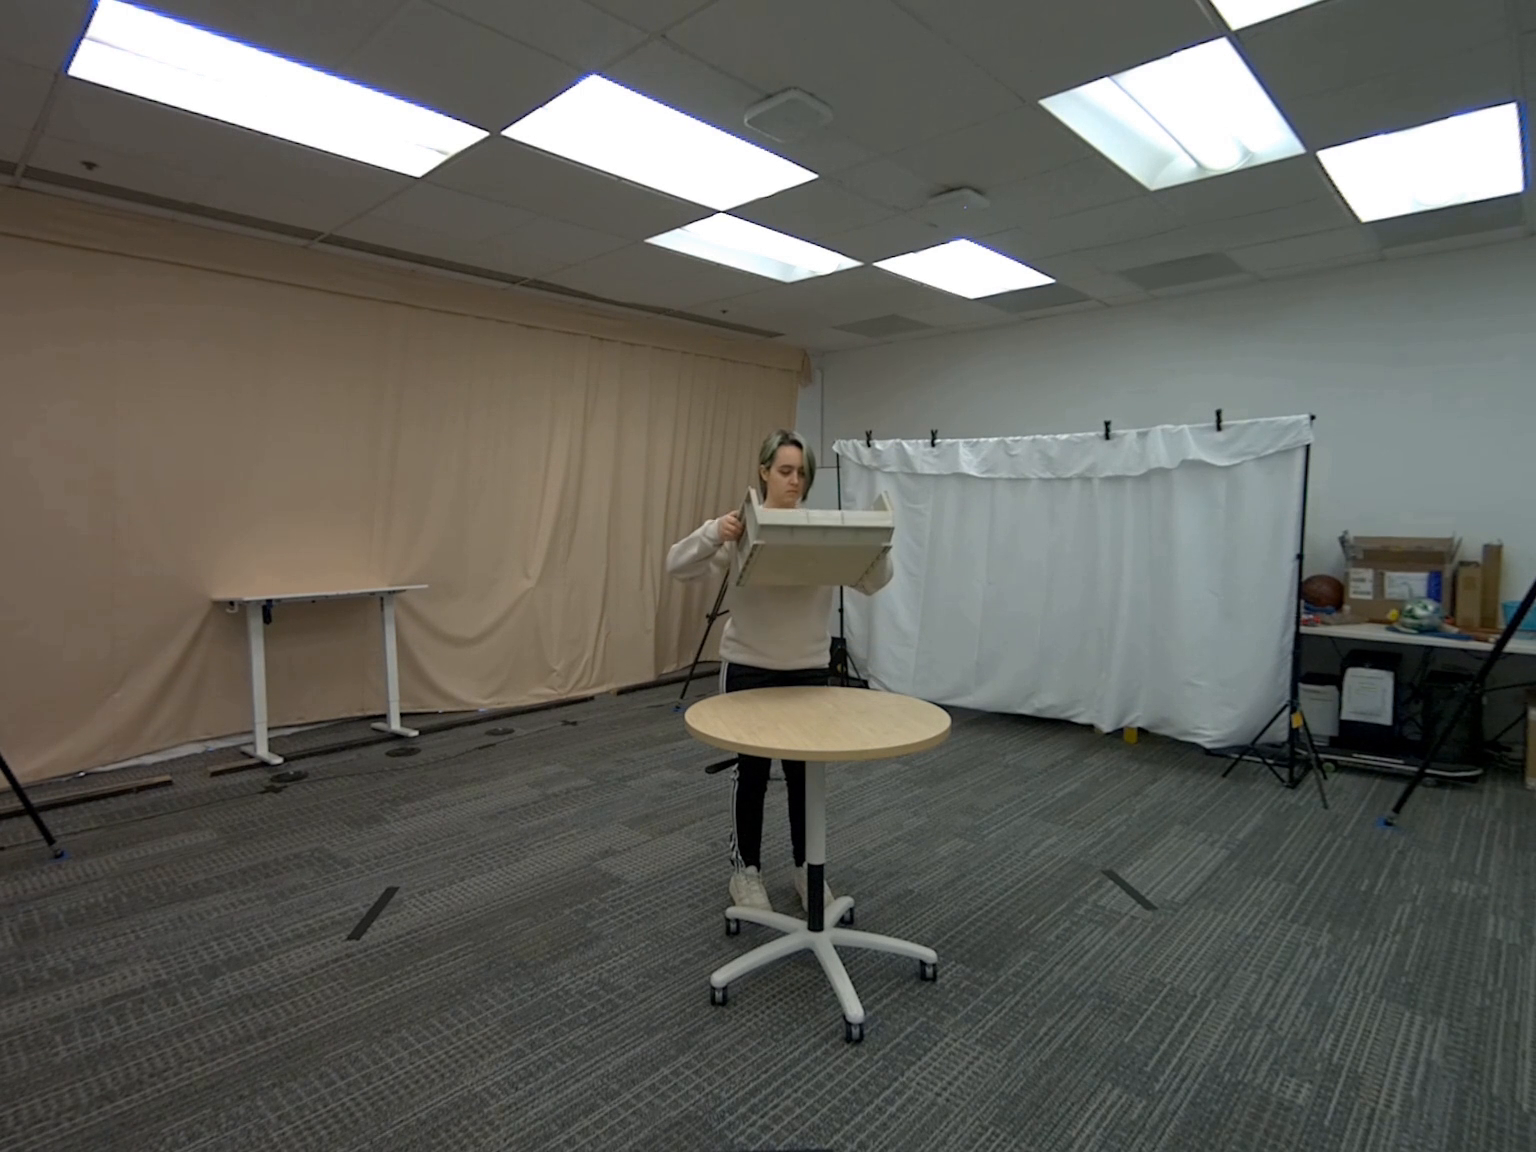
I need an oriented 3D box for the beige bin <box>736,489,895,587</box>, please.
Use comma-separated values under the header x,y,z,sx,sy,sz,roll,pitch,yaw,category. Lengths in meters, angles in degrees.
x,y,z,sx,sy,sz,roll,pitch,yaw,category
0.127,-0.108,2.552,0.417,0.192,0.376,0,-25,-12,beige bin
